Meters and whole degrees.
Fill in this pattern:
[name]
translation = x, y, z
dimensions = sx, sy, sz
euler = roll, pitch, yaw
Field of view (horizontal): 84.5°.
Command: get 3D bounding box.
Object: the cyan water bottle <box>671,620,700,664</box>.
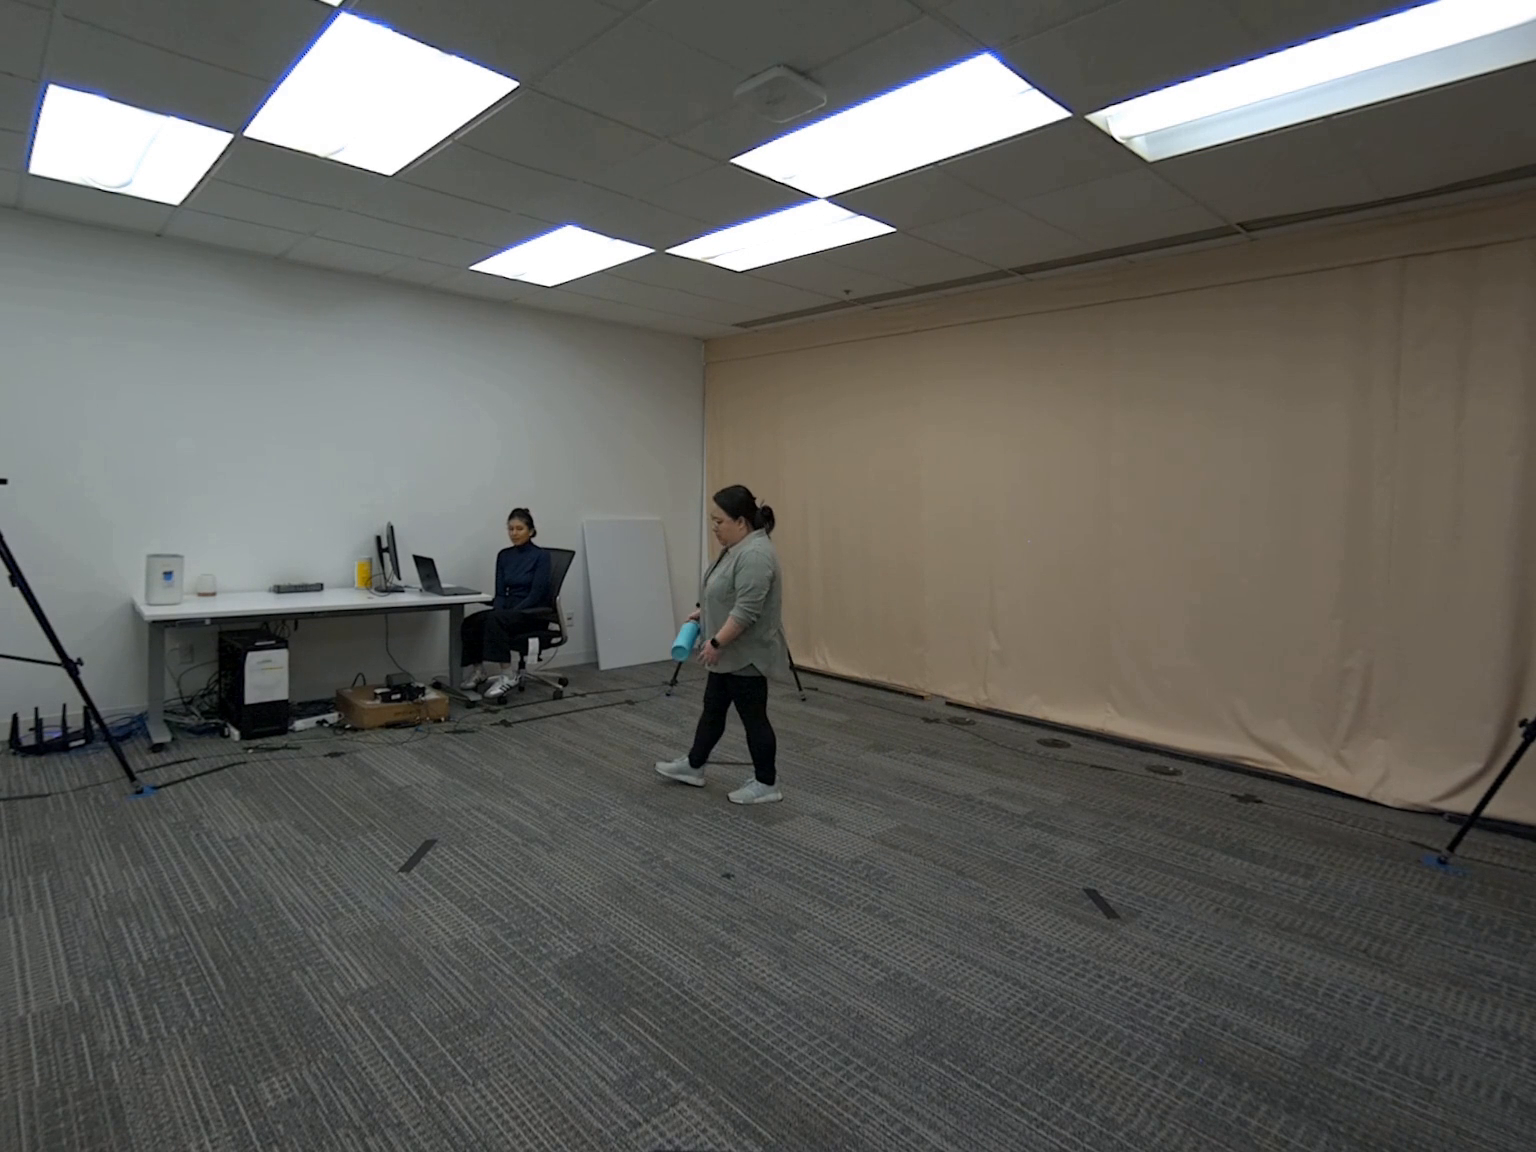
[cyan water bottle]
translation = -0.386, 0.291, 3.971
dimensions = 0.093, 0.091, 0.286
euler = 2, 26, 8
